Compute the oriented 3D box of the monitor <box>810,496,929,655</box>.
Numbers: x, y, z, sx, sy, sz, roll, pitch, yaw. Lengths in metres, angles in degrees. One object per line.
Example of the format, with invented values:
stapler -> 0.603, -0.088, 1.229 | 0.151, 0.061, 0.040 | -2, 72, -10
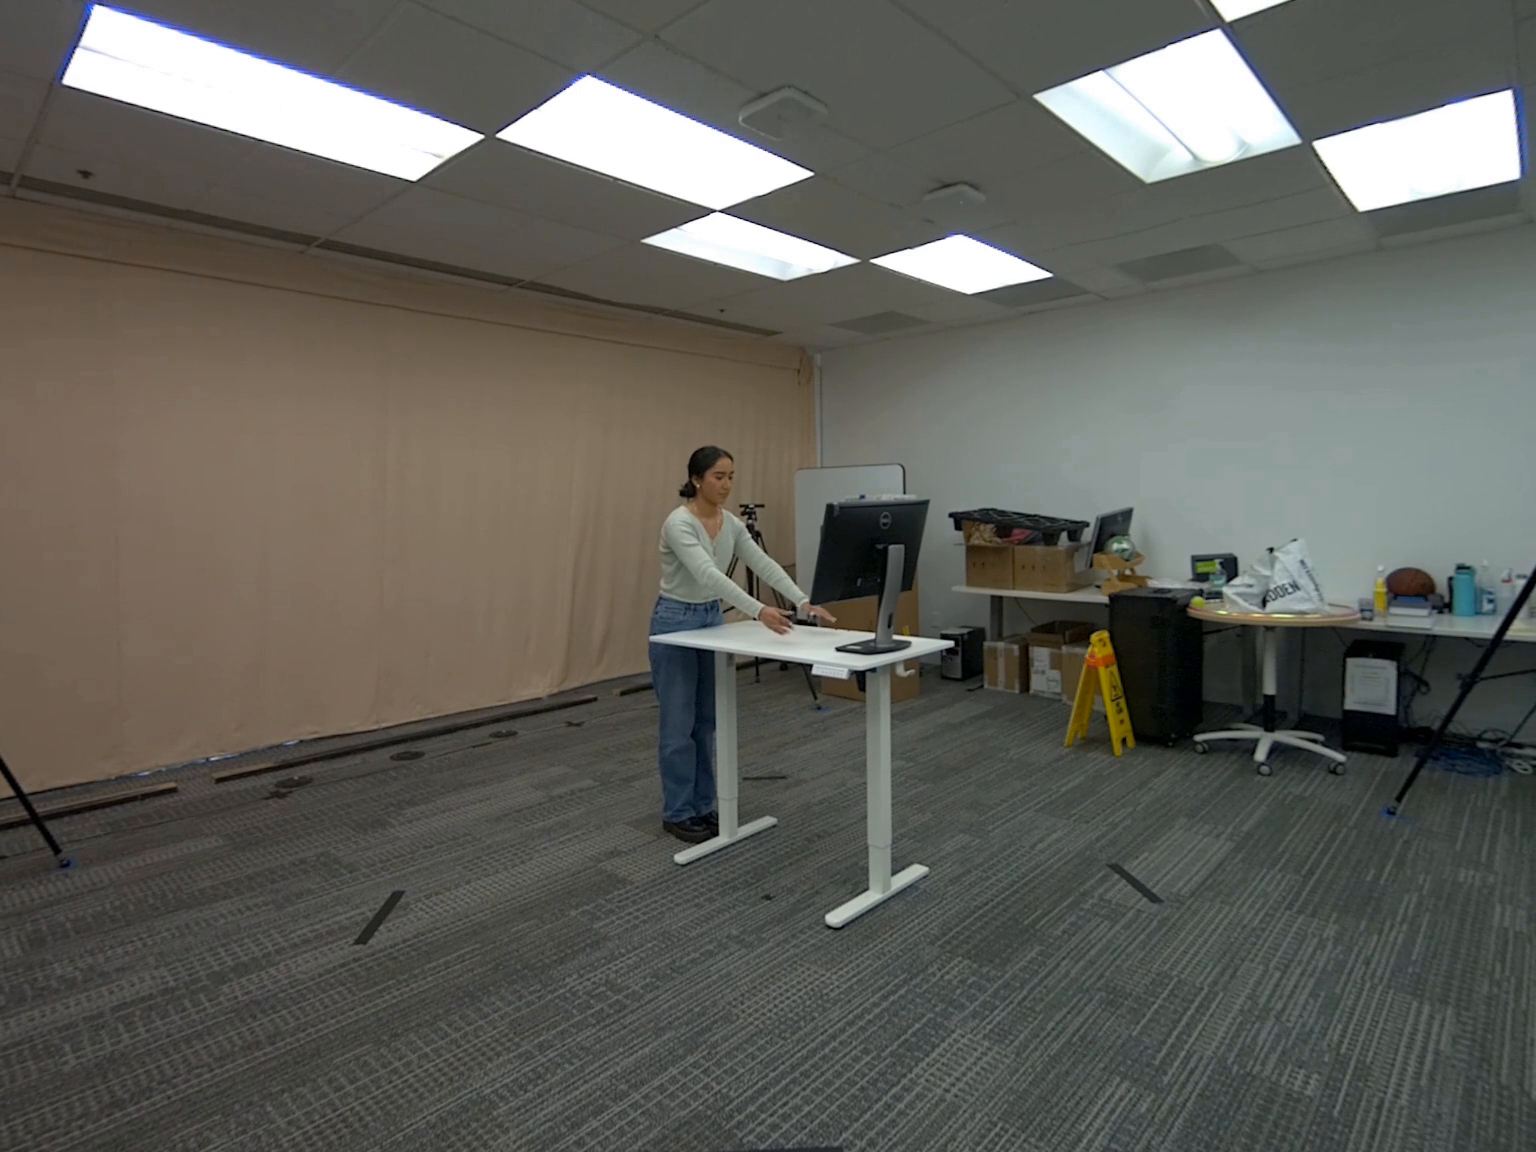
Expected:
monitor -> 0.400, 0.002, 2.916 | 0.523, 0.521, 0.193 | -6, 7, -44
